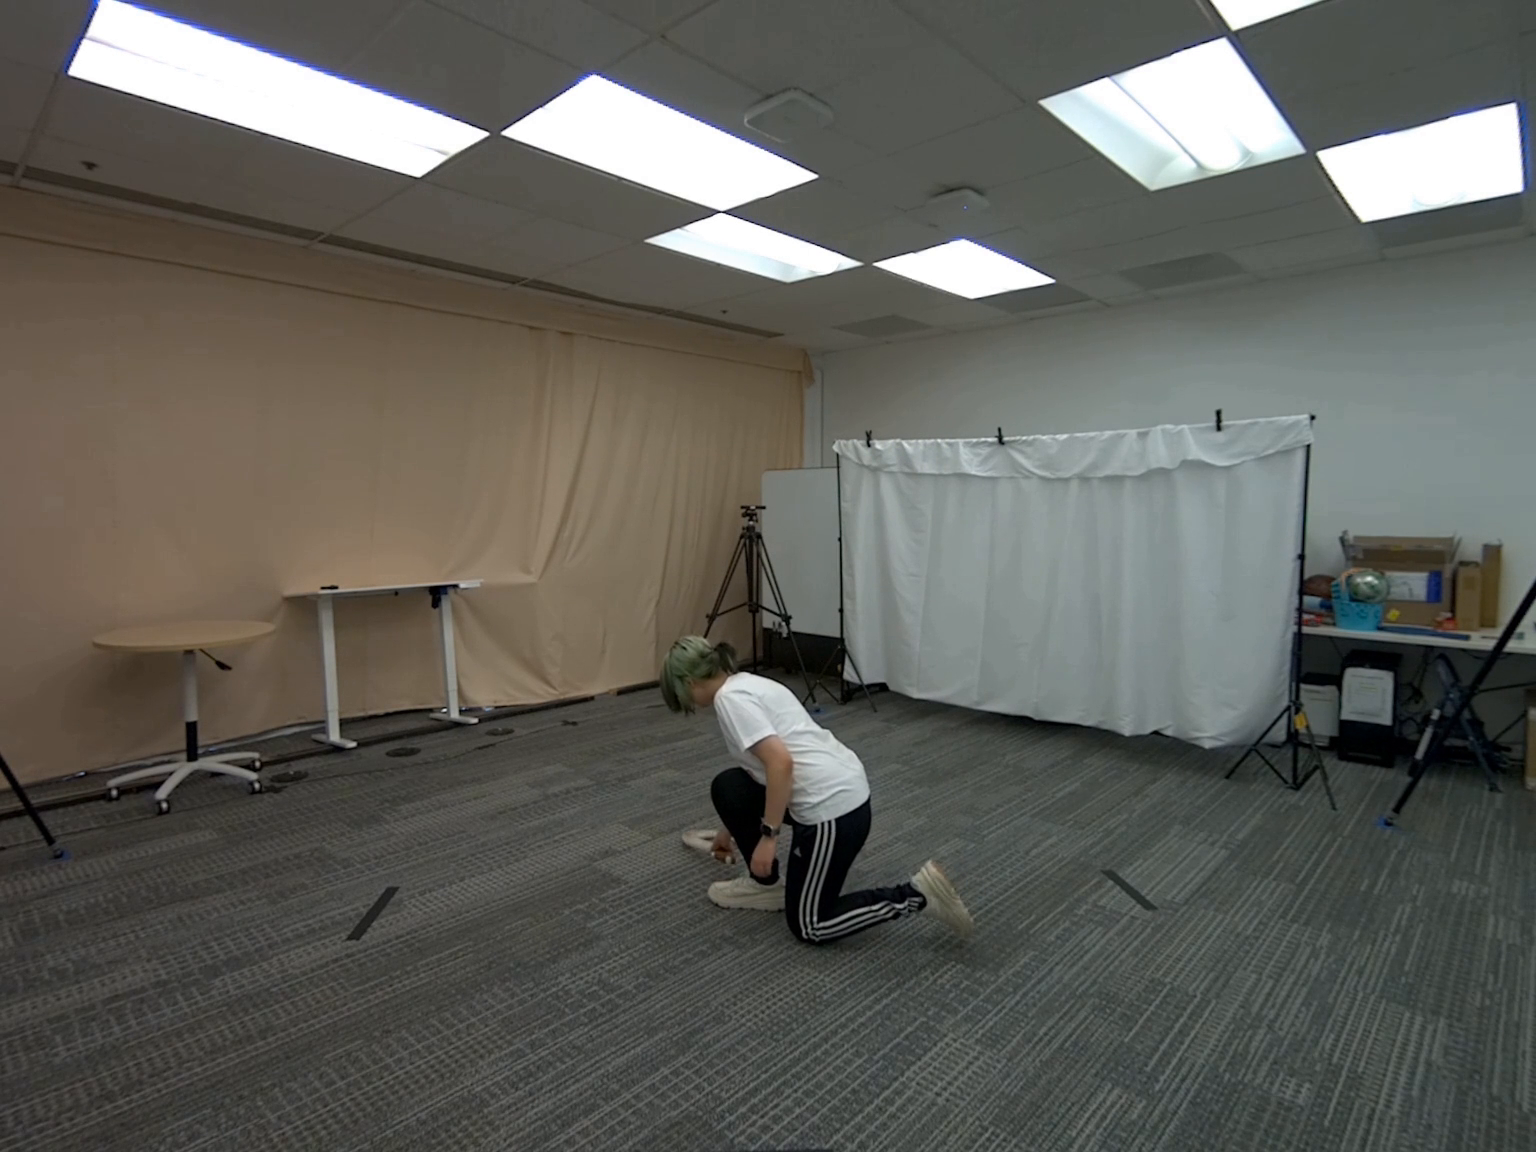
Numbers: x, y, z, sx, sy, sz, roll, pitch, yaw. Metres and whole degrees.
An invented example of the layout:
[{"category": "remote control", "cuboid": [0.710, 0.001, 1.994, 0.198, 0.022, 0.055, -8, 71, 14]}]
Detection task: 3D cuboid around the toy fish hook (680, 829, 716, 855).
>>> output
[{"category": "toy fish hook", "cuboid": [-0.190, 1.061, 3.322, 0.220, 0.048, 0.516, -3, -2, -22]}]
